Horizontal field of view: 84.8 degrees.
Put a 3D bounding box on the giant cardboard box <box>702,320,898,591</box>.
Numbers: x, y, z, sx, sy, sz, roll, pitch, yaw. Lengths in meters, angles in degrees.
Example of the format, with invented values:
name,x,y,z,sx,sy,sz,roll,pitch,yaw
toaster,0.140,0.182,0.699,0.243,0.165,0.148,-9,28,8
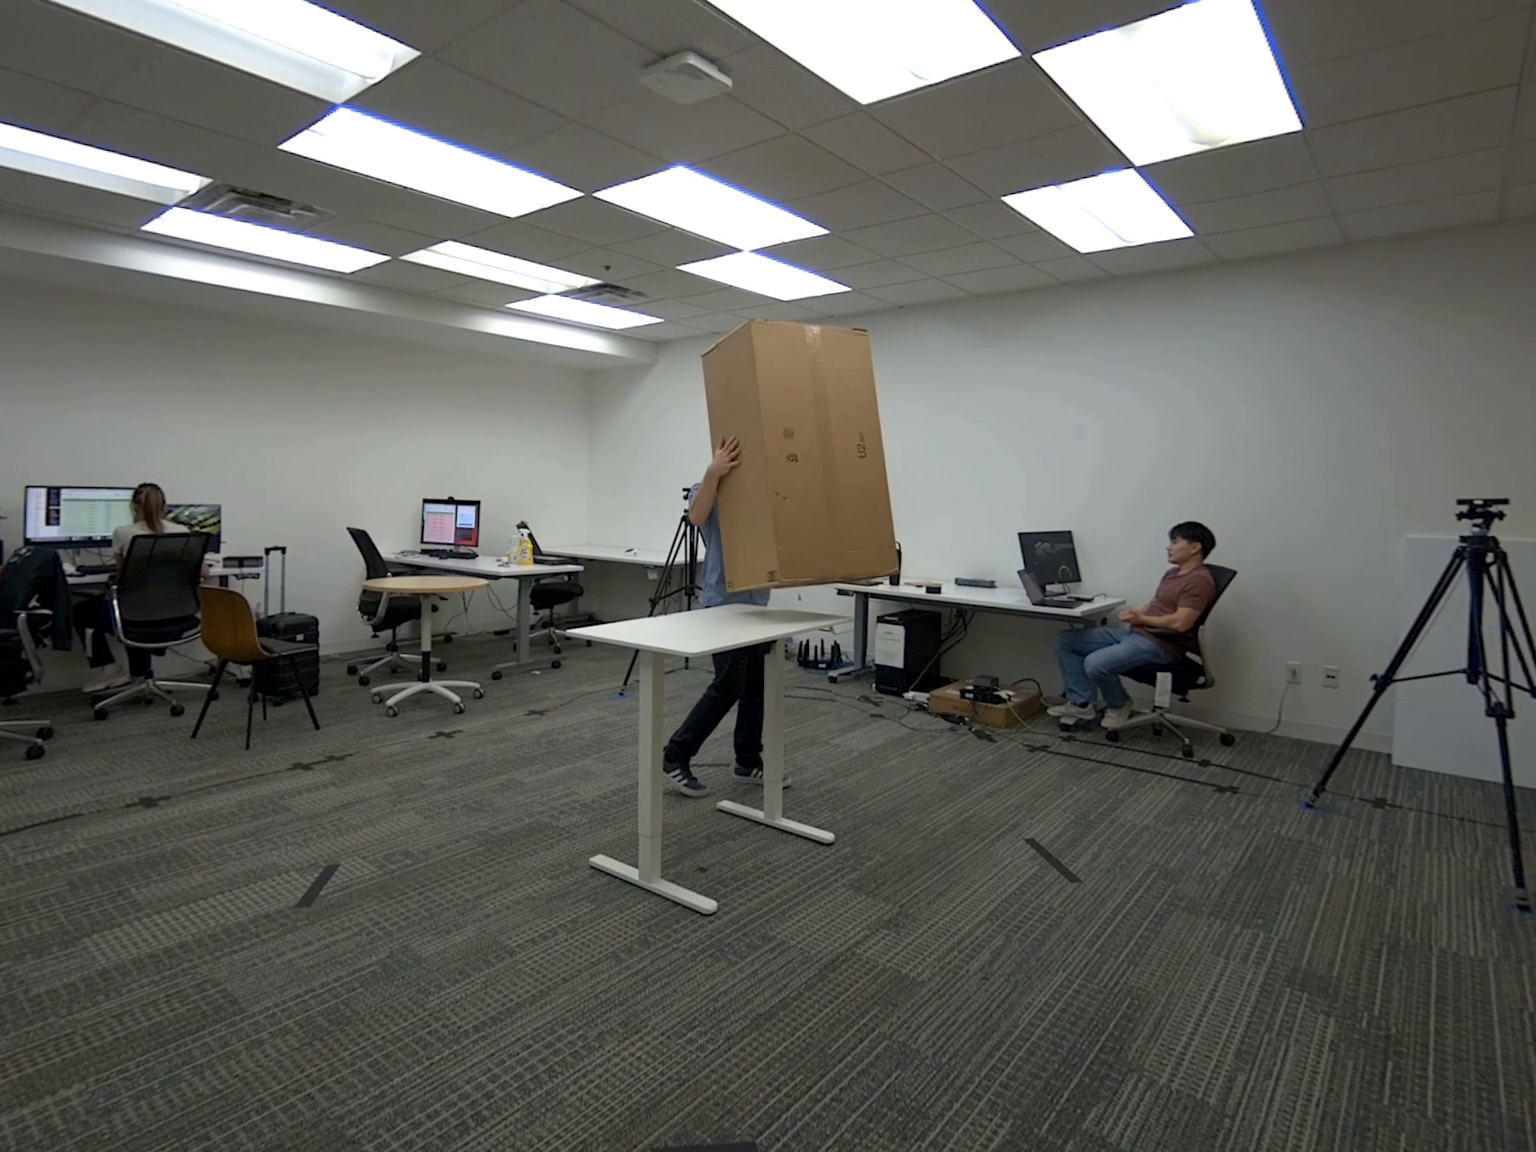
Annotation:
name,x,y,z,sx,sy,sz,roll,pitch,yaw
giant cardboard box,0.109,-0.475,3.512,0.563,1.032,0.434,-3,-6,-29
